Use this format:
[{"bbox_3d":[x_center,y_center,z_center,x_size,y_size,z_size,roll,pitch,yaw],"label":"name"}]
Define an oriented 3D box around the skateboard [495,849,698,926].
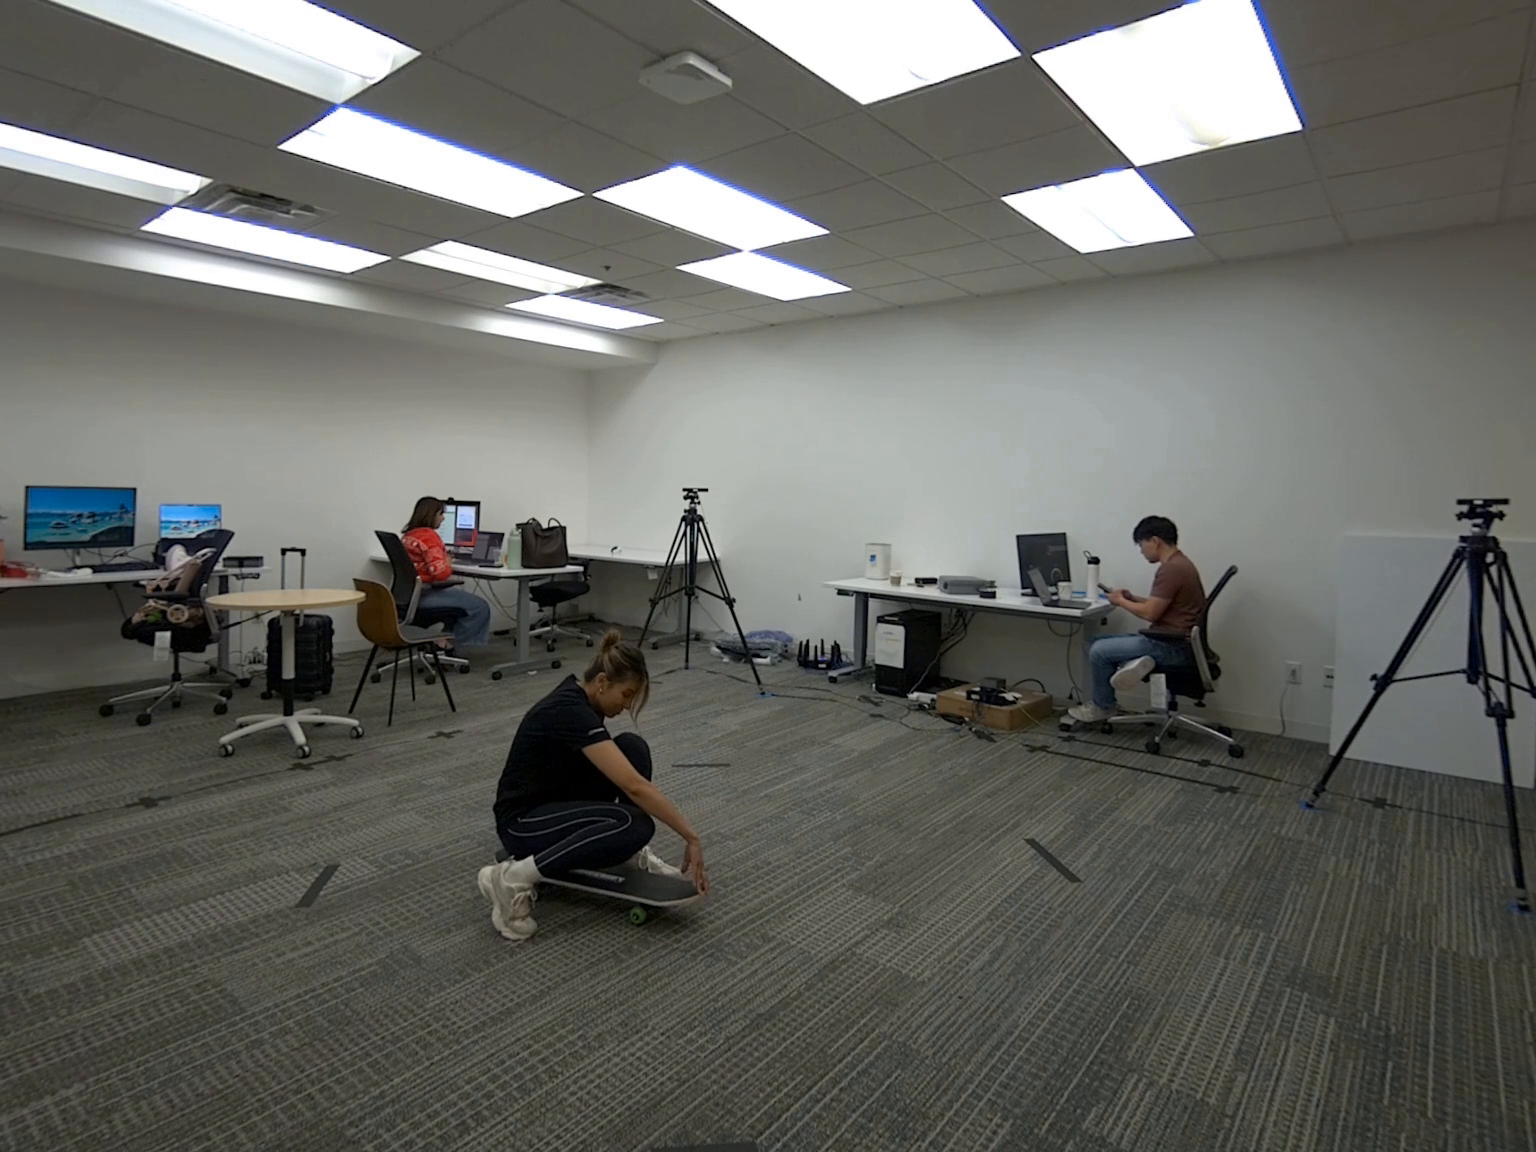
[{"bbox_3d":[-0.582,1.025,2.844,0.803,0.110,0.190,3,5,21],"label":"skateboard"}]
